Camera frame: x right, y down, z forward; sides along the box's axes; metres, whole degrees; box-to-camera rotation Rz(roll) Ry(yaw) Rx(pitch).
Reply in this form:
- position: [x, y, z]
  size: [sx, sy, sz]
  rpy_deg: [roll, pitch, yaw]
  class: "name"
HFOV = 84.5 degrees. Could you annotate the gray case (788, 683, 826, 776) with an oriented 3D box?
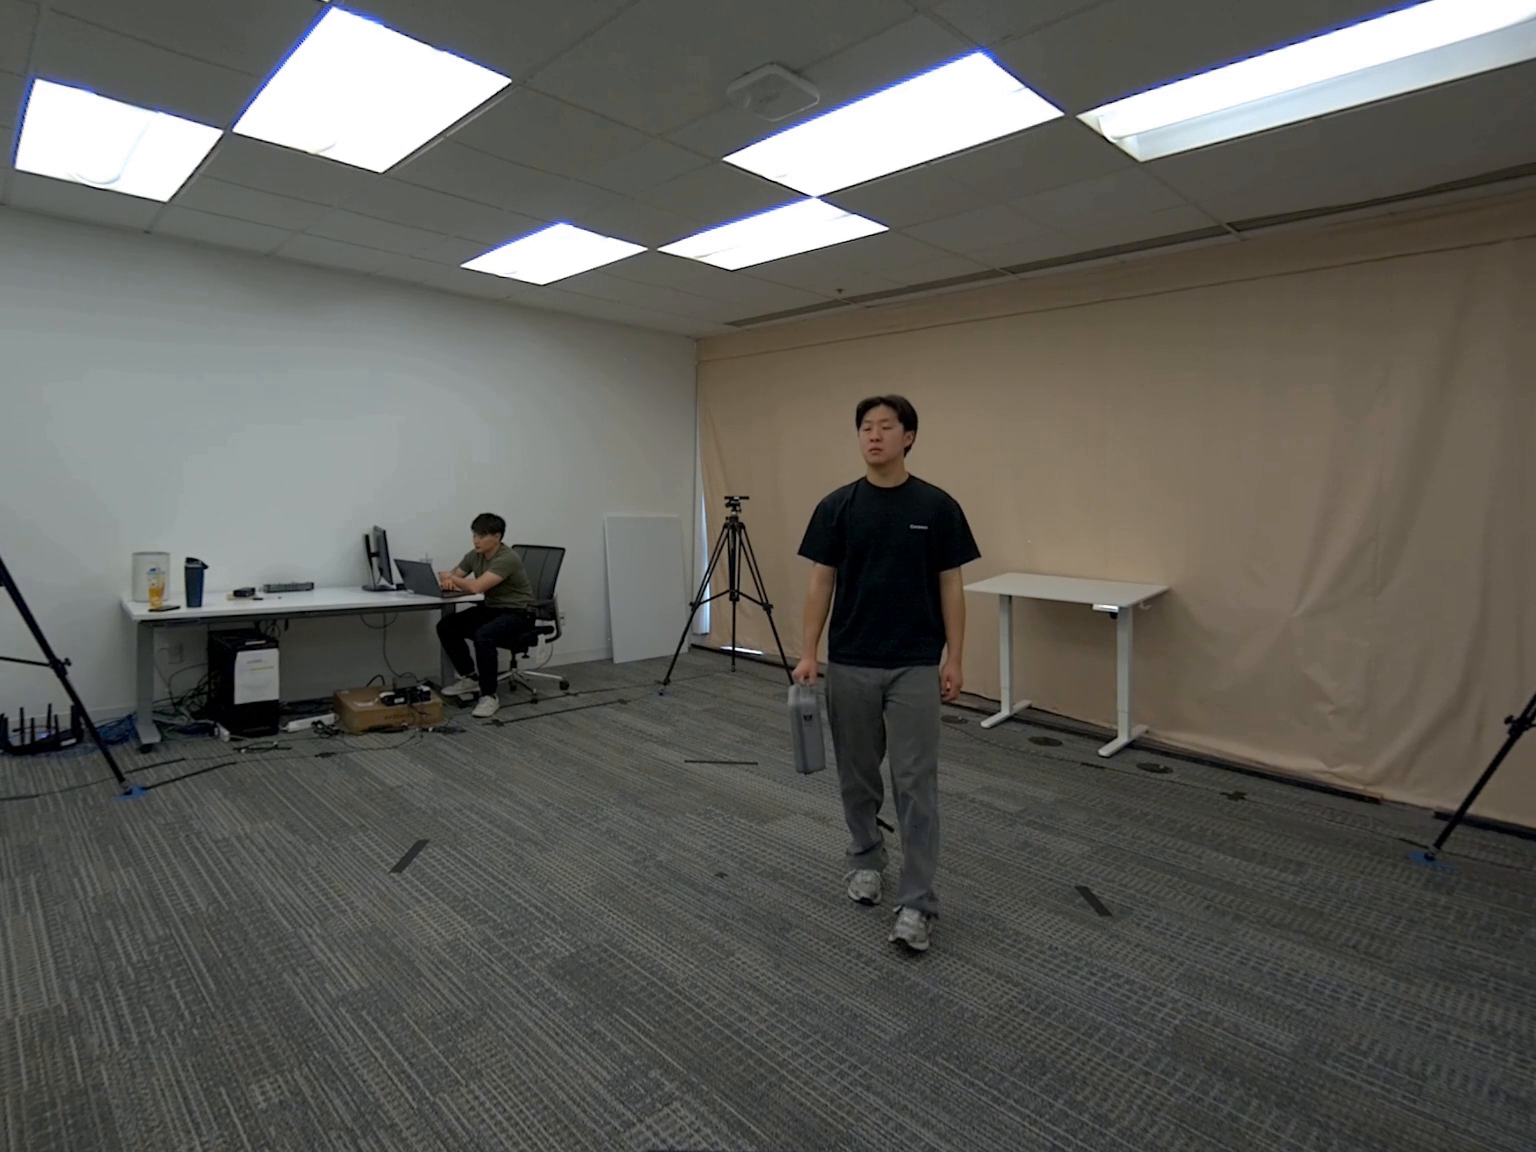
- position: [0.135, 0.506, 2.891]
  size: [0.103, 0.286, 0.264]
  rpy_deg: [-7, 7, 3]
  class: "gray case"
